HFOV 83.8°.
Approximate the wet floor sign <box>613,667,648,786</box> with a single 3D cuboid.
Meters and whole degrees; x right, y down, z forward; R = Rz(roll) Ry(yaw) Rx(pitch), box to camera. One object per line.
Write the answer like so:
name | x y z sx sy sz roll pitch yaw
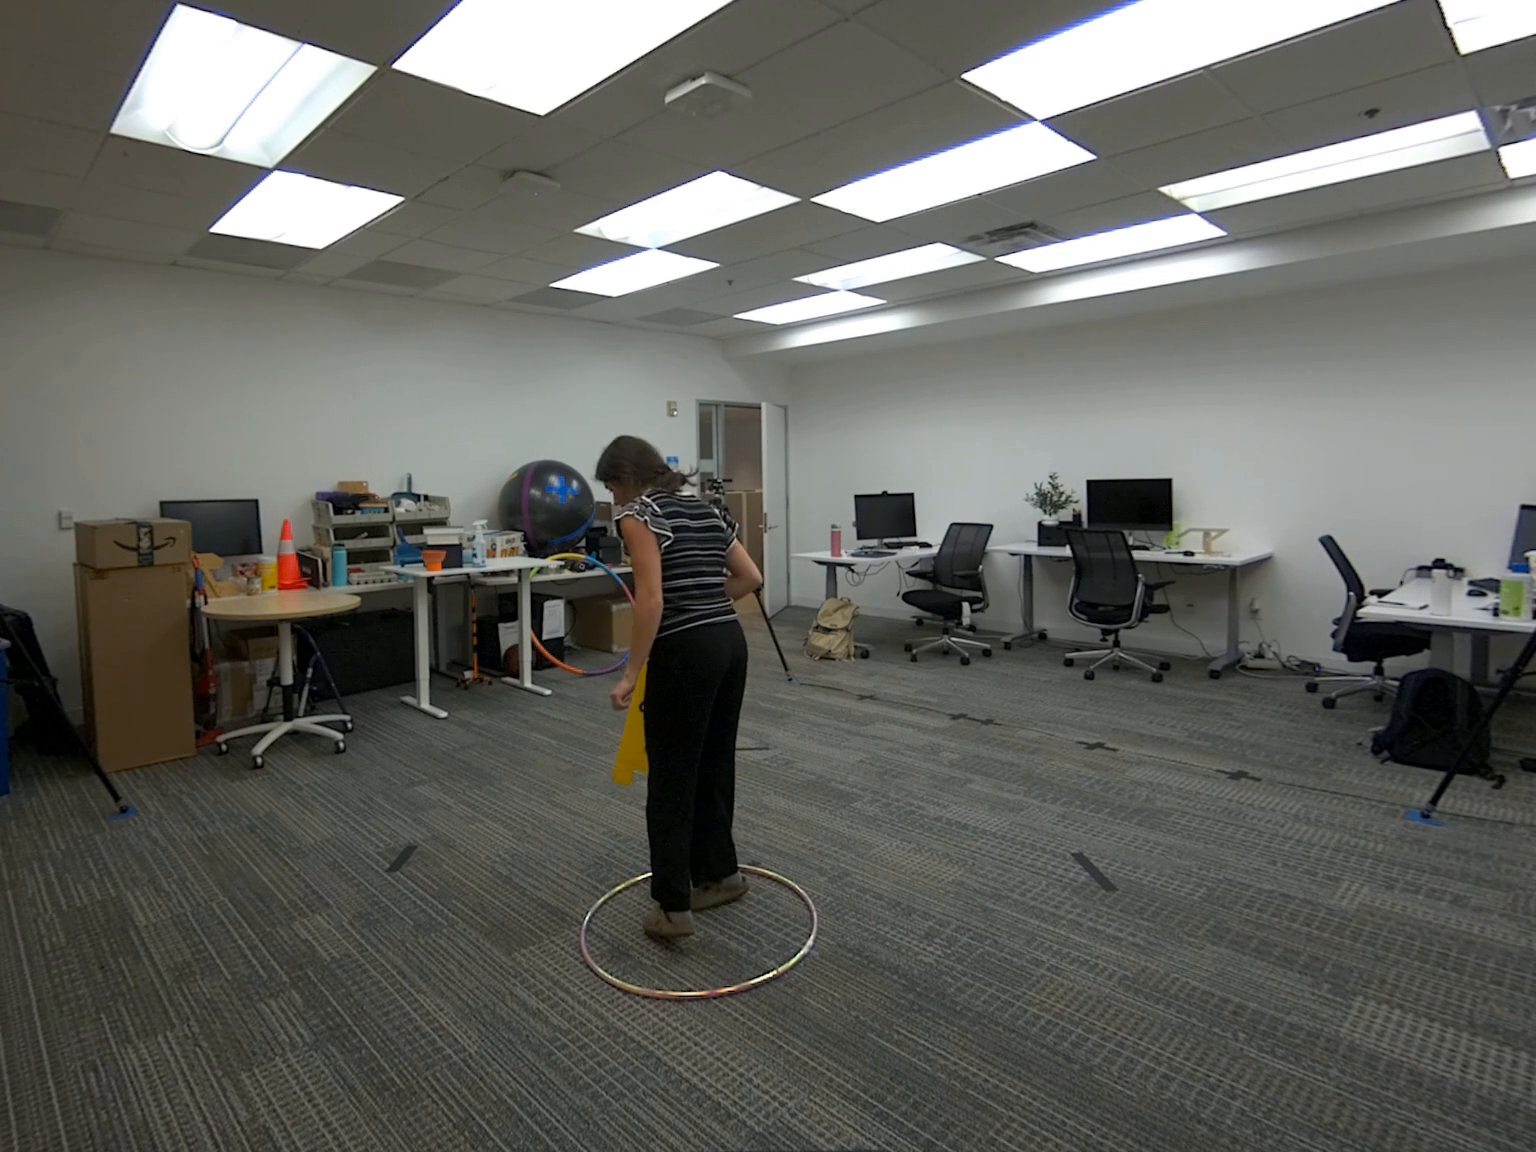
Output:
wet floor sign | -0.340 0.450 2.989 0.290 0.638 0.286 15 18 24
